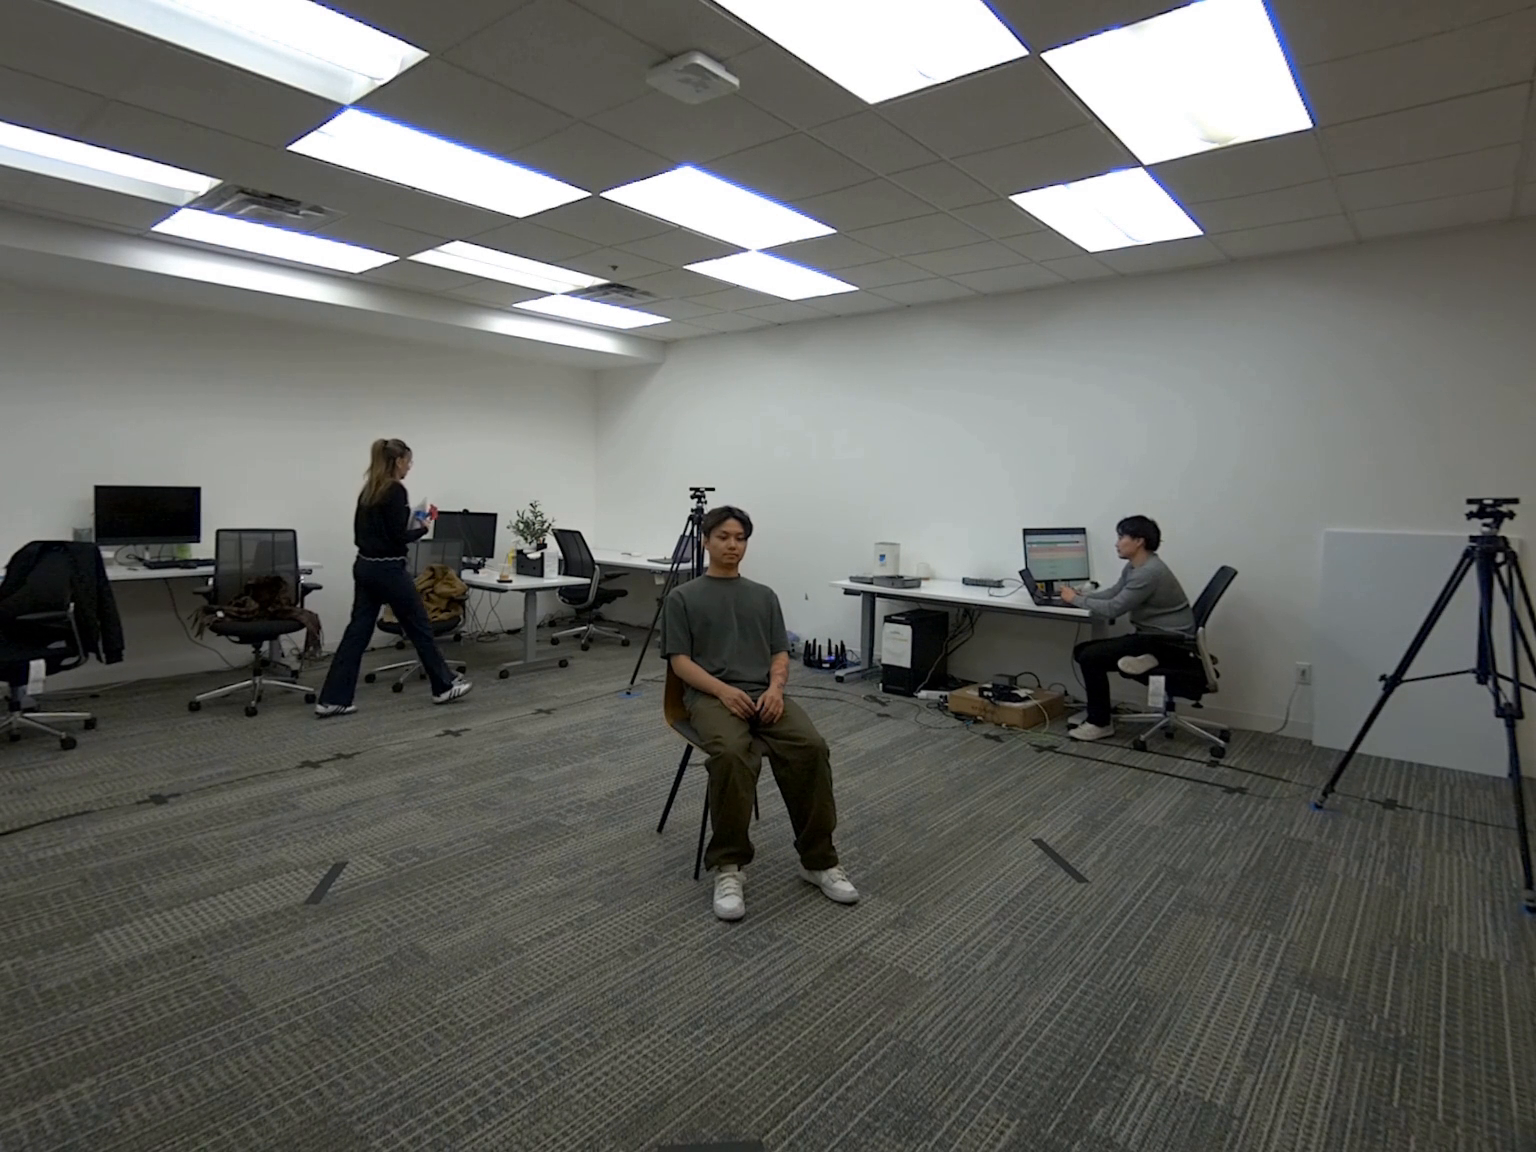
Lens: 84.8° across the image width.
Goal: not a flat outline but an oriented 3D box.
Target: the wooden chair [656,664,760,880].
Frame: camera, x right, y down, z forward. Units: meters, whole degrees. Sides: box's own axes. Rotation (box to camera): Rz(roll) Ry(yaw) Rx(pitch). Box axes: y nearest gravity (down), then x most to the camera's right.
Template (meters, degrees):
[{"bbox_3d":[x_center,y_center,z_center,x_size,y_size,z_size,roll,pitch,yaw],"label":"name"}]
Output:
[{"bbox_3d":[-0.148,0.617,3.278,0.467,0.878,0.535,0,-1,-24],"label":"wooden chair"}]
